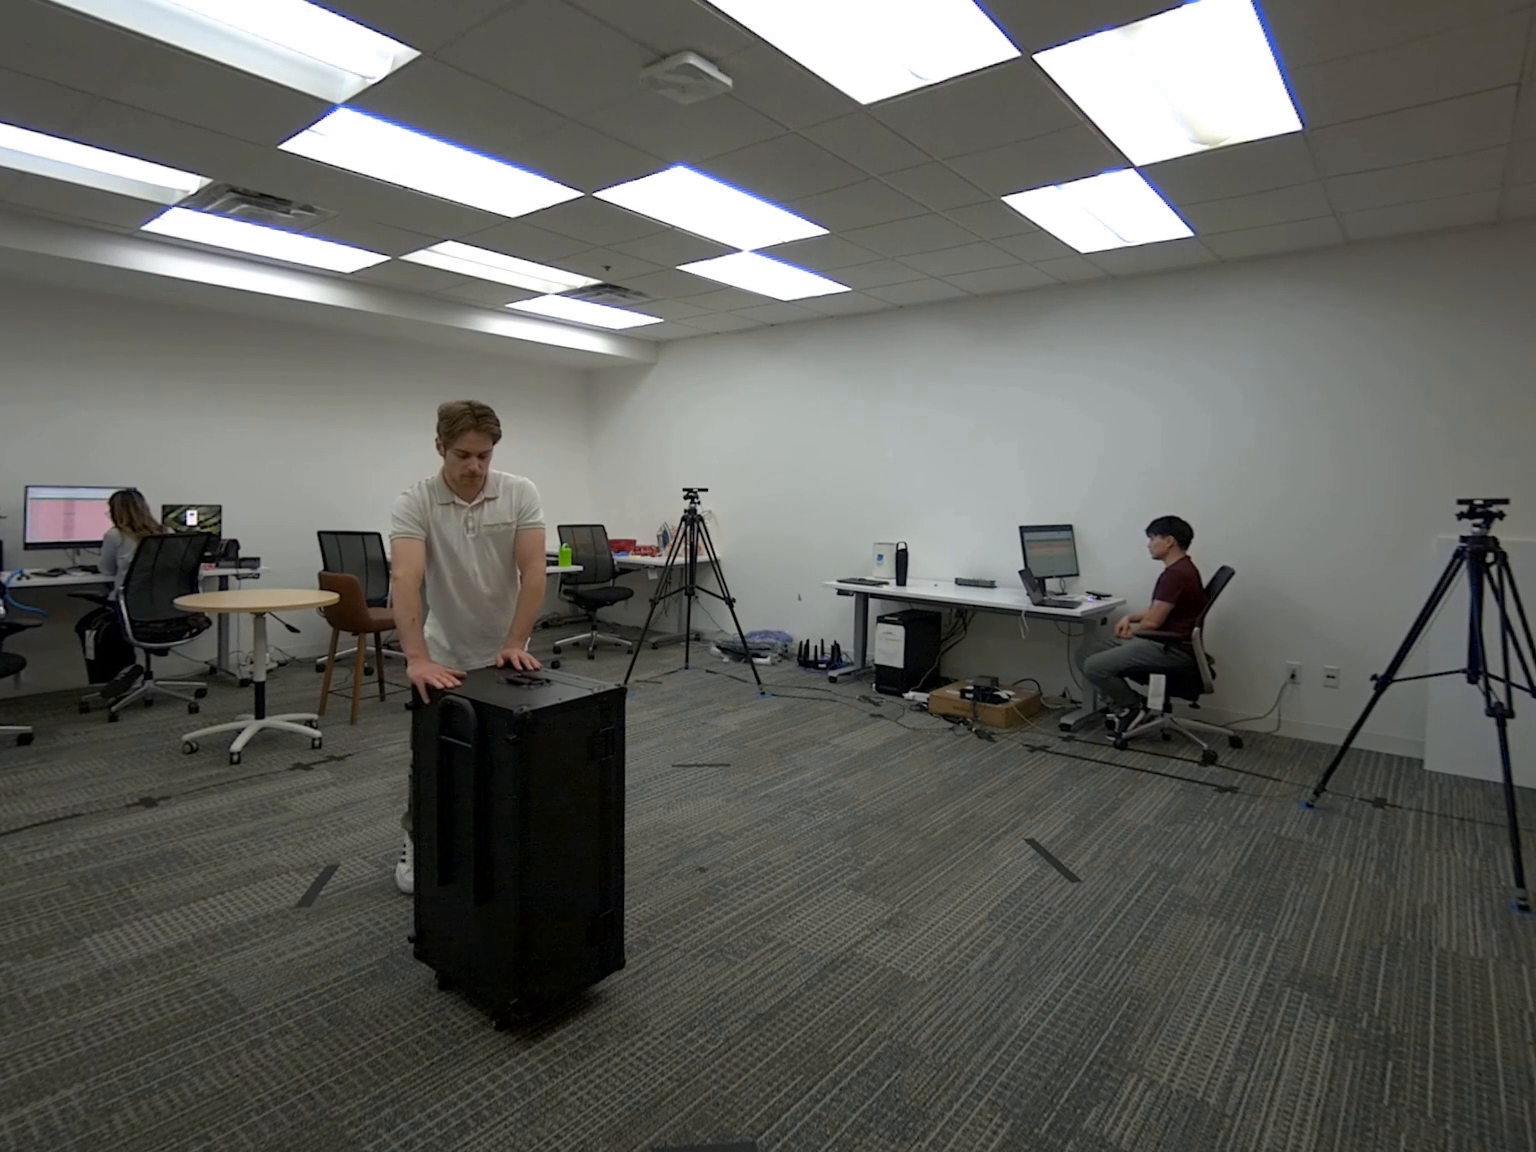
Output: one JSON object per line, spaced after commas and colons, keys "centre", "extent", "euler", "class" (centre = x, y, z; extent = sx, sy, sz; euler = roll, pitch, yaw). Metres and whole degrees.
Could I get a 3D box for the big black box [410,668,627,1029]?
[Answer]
{"centre": [-0.687, 0.718, 2.327], "extent": [0.540, 0.866, 0.374], "euler": [3, 4, 37], "class": "big black box"}
